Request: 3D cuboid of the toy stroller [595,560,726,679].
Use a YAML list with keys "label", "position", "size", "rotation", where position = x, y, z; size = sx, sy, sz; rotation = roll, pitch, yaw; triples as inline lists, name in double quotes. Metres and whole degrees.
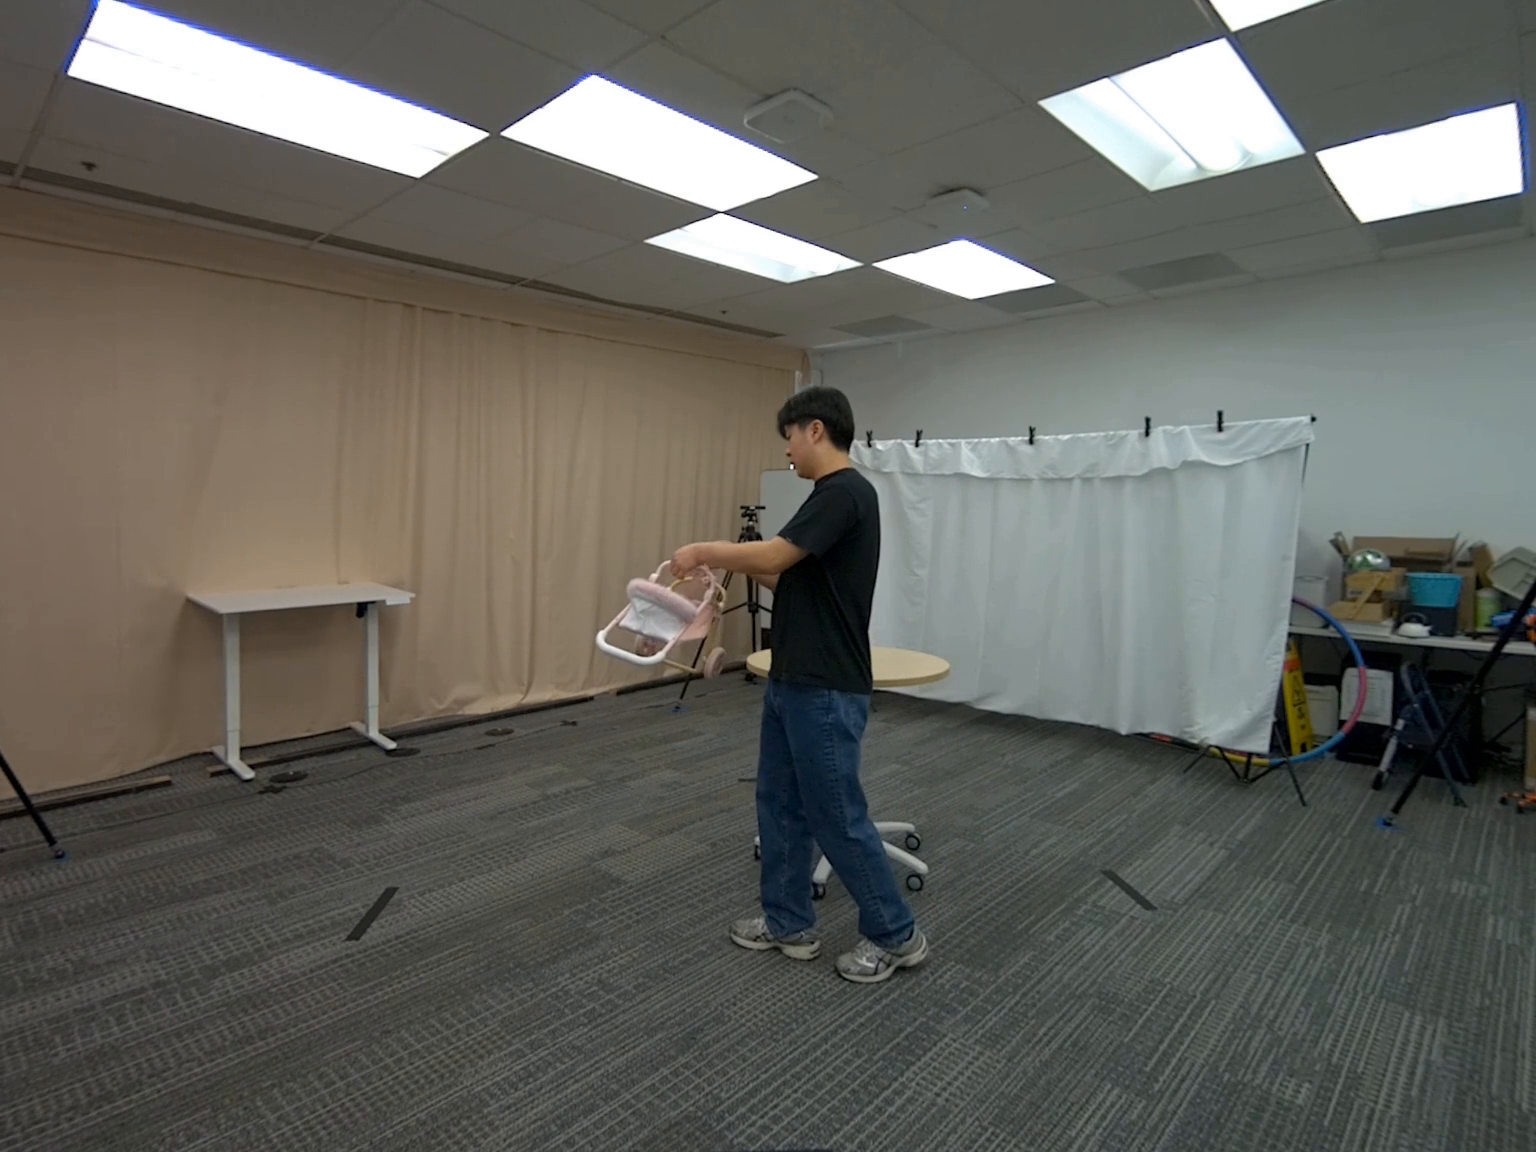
- label: "toy stroller"
  position: [-0.276, 0.113, 2.548]
  size: [0.288, 0.341, 0.522]
  rotation: [20, -6, 19]
